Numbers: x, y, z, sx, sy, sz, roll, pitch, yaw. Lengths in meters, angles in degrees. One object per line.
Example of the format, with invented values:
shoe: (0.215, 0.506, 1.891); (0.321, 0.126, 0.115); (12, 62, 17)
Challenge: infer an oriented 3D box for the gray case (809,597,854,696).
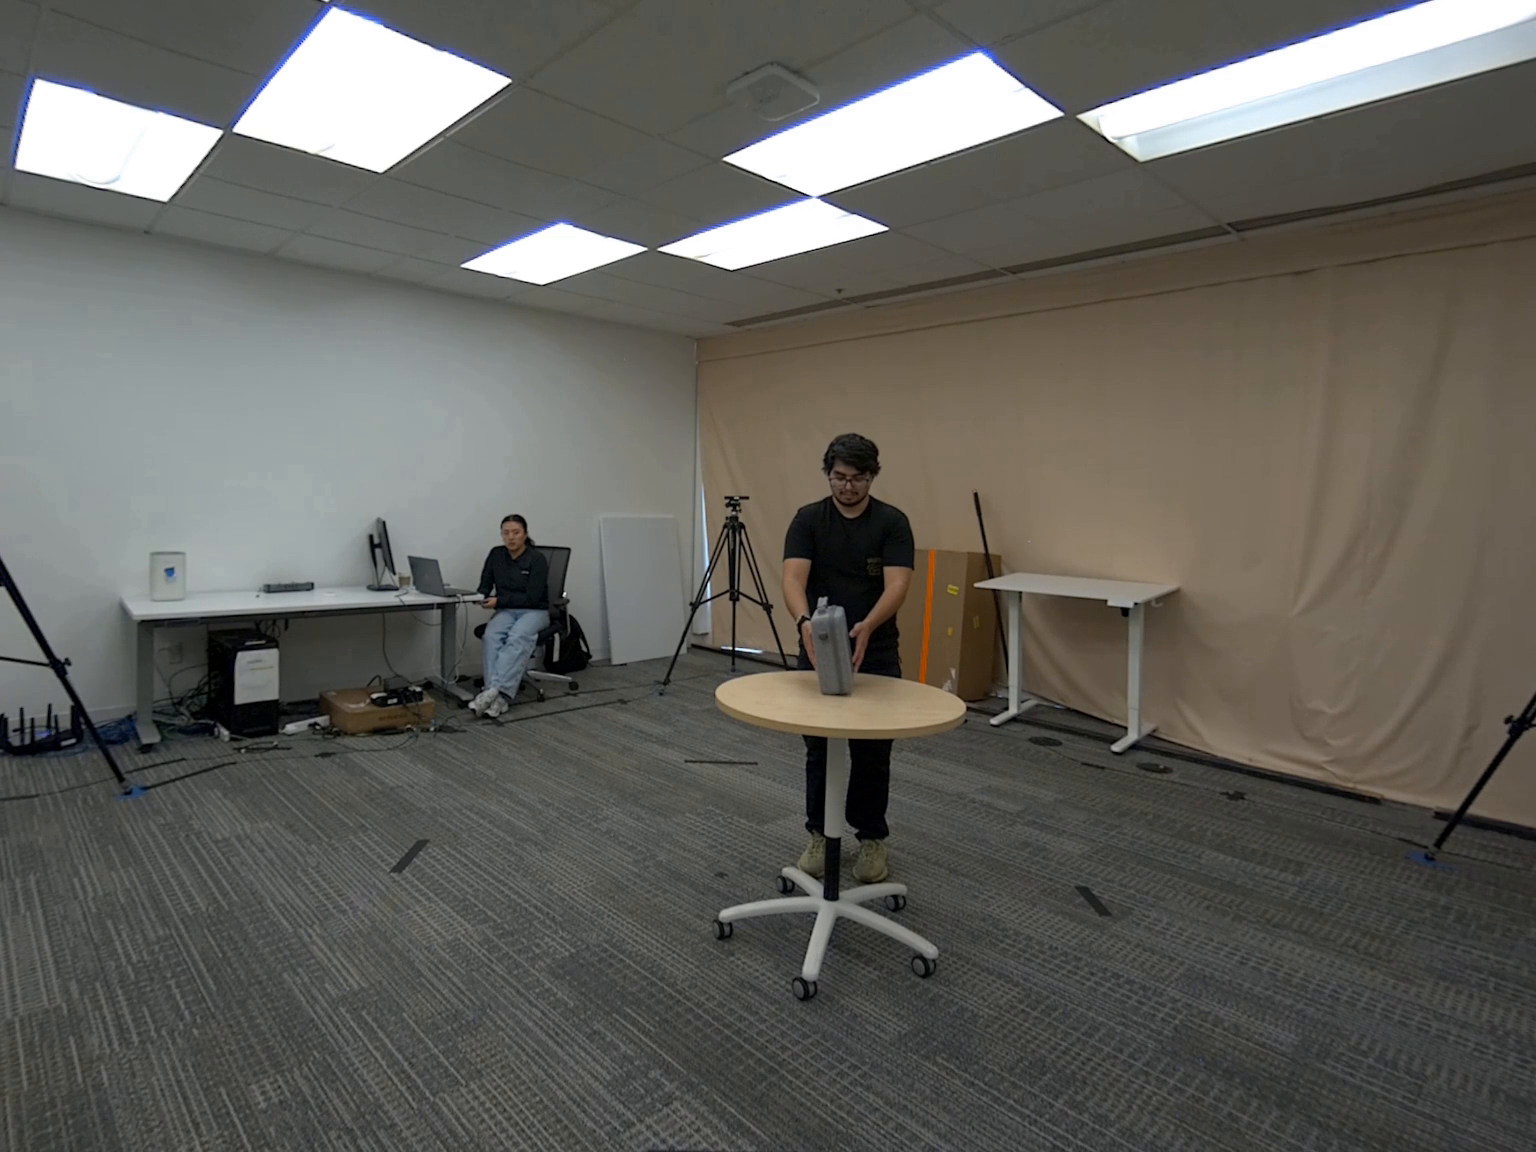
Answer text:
gray case: (0.192, 0.233, 2.712); (0.105, 0.260, 0.256); (-6, 2, 6)
